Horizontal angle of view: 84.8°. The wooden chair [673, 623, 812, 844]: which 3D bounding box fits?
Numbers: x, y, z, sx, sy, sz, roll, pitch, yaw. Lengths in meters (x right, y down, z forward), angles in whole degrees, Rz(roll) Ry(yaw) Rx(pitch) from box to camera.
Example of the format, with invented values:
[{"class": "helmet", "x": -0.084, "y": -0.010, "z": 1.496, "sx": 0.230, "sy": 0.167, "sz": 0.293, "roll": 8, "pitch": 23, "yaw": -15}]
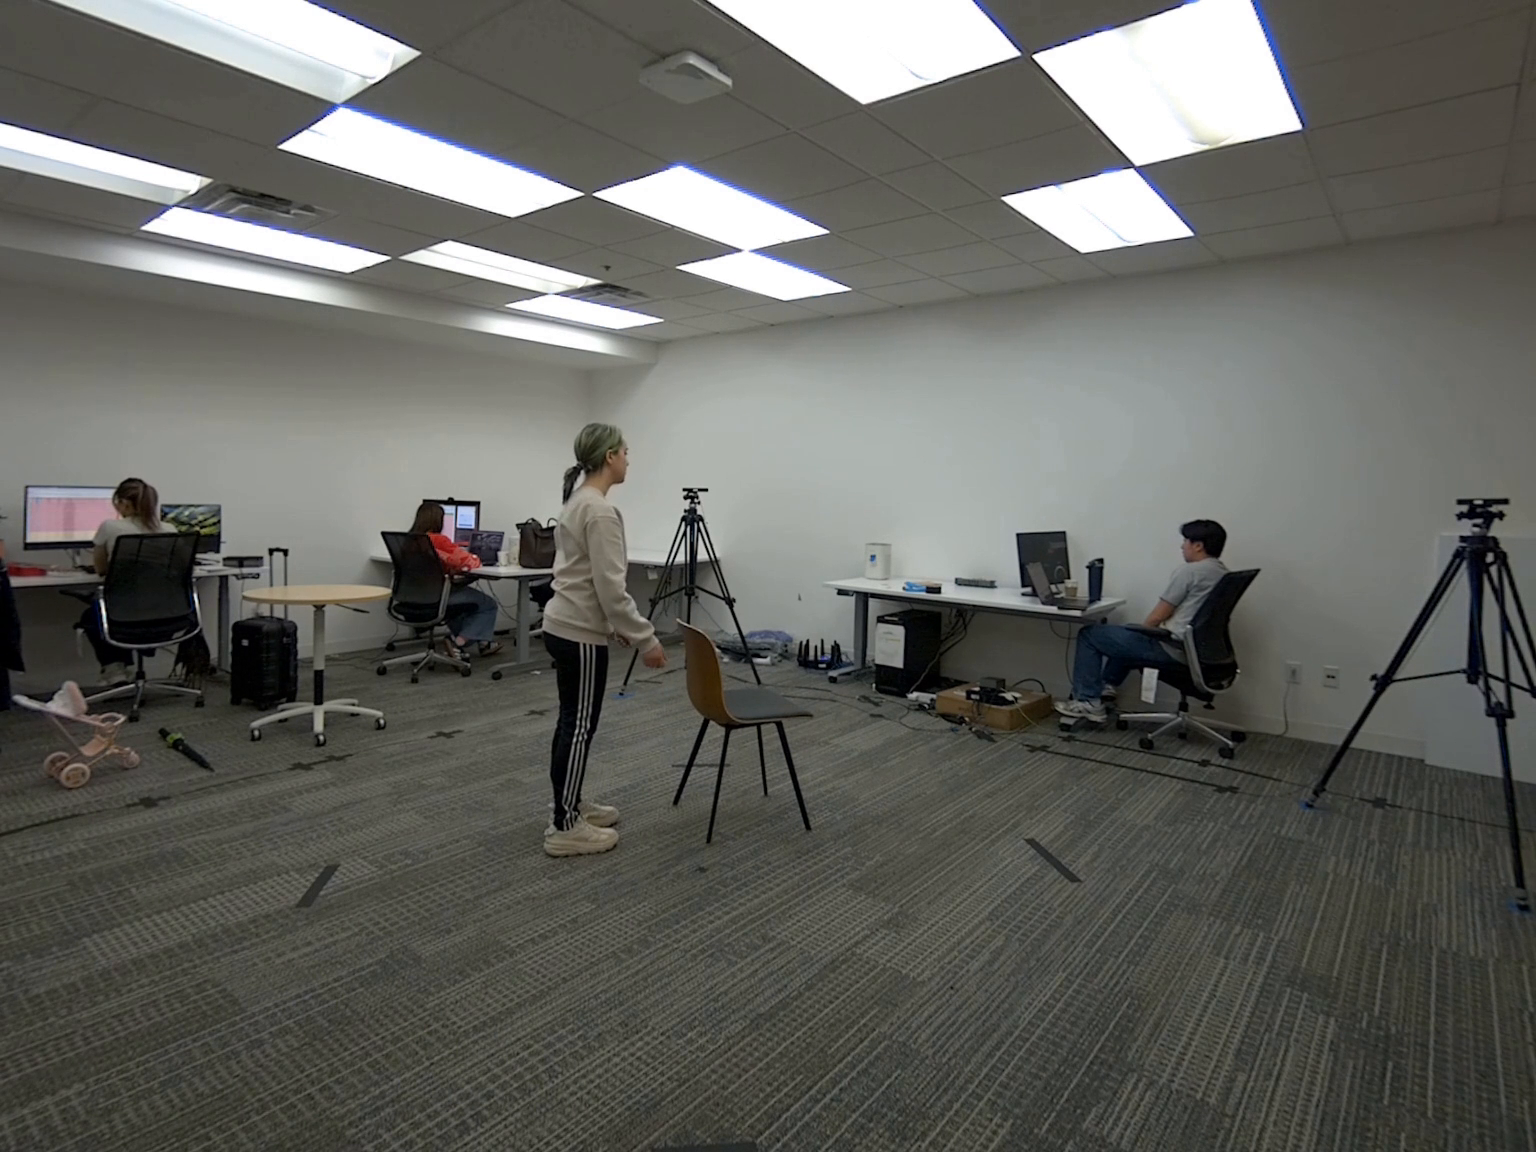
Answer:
[{"class": "wooden chair", "x": -0.112, "y": 0.602, "z": 3.588, "sx": 0.513, "sy": 0.874, "sz": 0.490, "roll": -5, "pitch": 5, "yaw": -22}]
